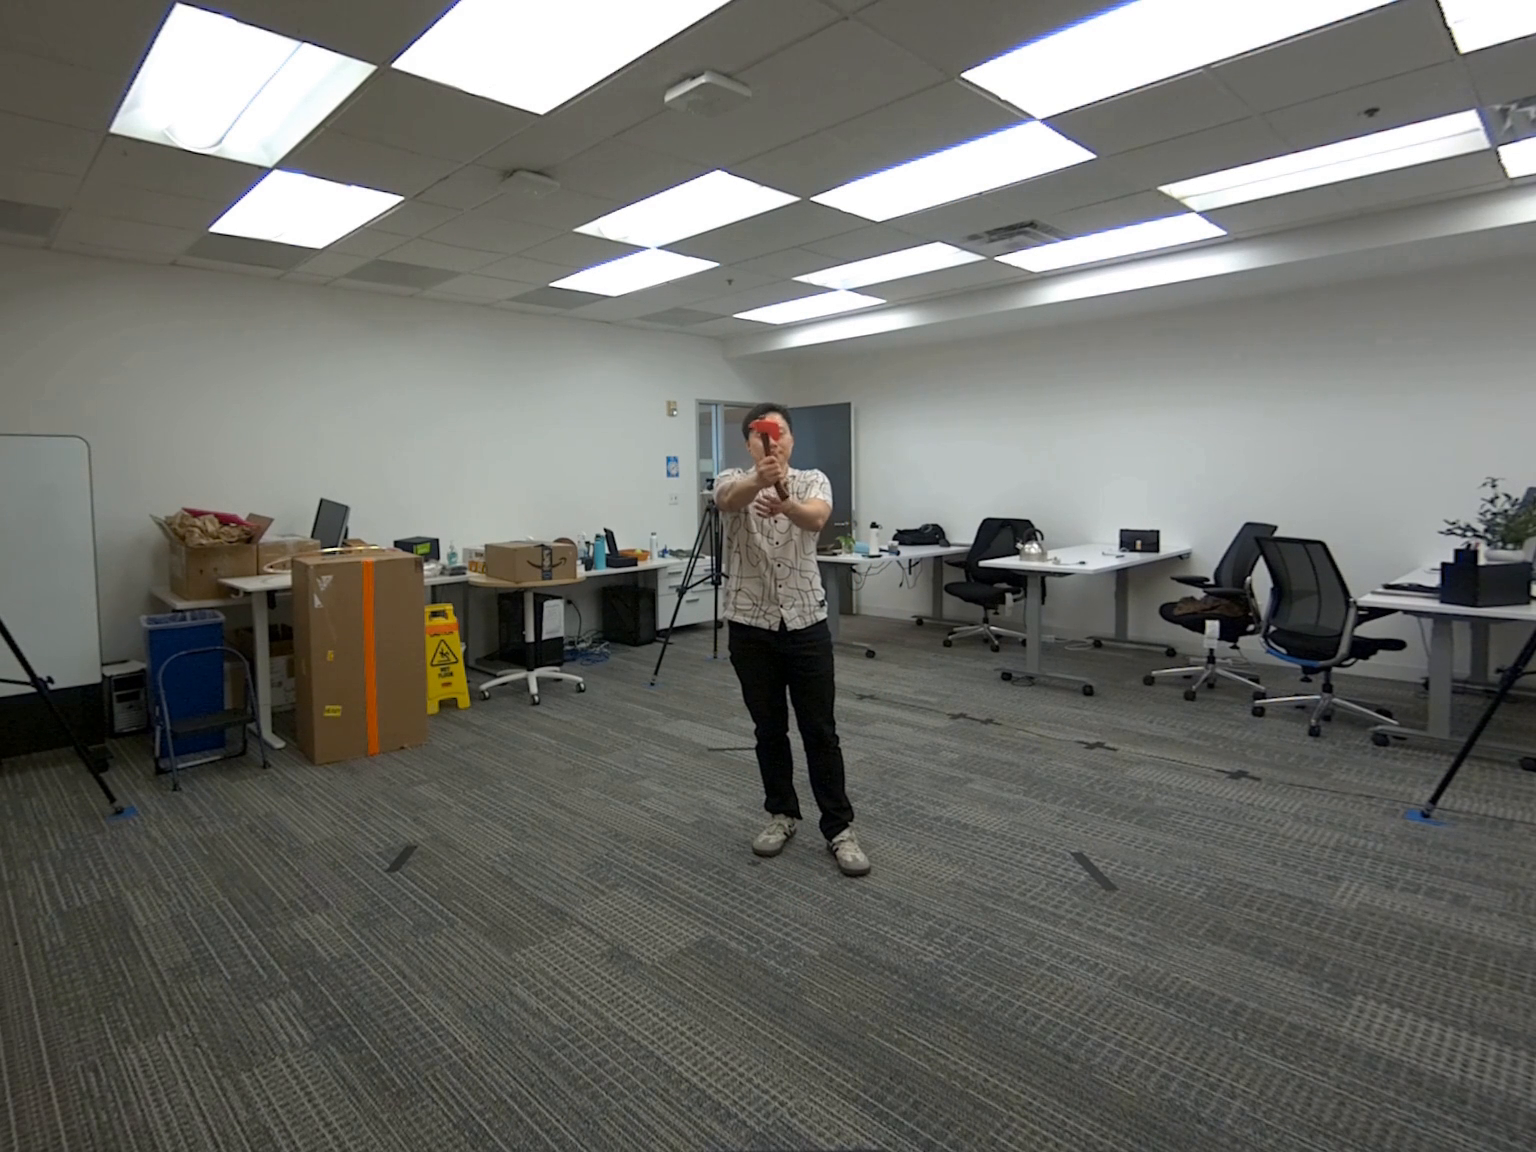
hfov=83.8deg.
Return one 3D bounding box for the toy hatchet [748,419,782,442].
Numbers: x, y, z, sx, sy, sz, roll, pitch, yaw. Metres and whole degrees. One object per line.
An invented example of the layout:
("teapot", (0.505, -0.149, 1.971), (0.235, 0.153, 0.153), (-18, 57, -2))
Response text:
("toy hatchet", (0.024, -0.370, 2.649), (0.029, 0.270, 0.133), (-21, -1, -30))
